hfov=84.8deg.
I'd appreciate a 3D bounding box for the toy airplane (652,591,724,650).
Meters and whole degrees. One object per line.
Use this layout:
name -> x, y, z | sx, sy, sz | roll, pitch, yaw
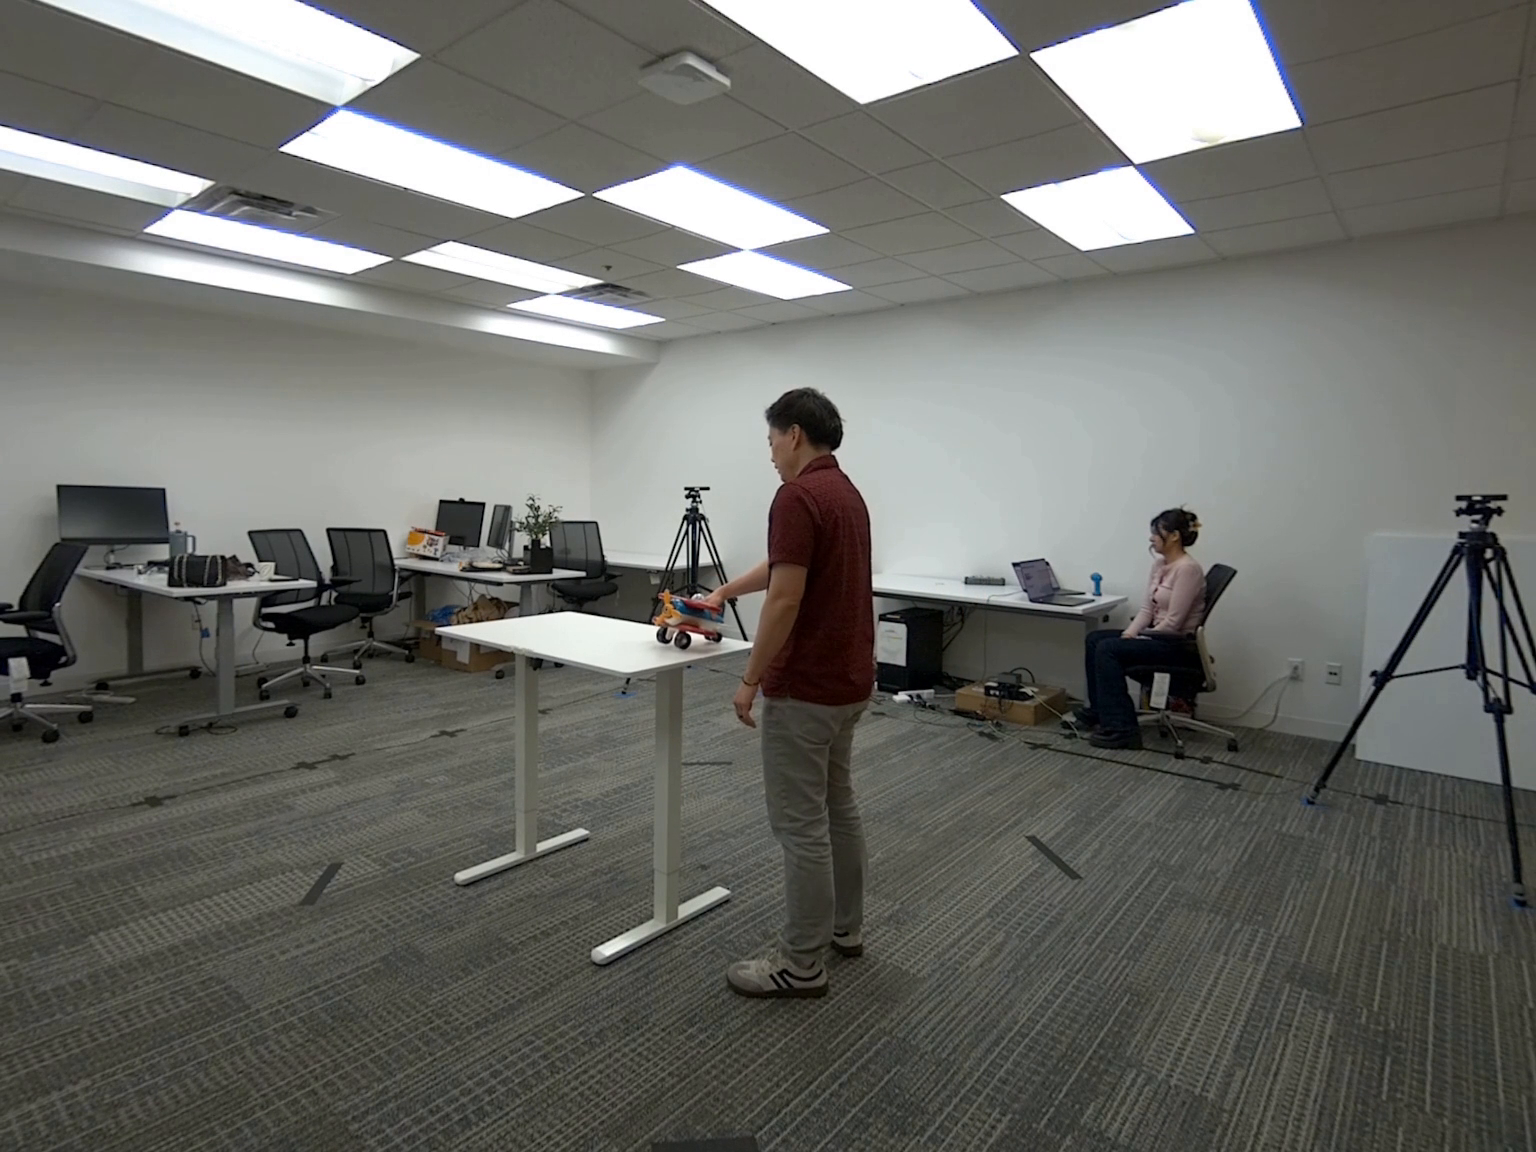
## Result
toy airplane -> -0.262, 0.132, 2.740 | 0.256, 0.155, 0.256 | 7, 8, 15
